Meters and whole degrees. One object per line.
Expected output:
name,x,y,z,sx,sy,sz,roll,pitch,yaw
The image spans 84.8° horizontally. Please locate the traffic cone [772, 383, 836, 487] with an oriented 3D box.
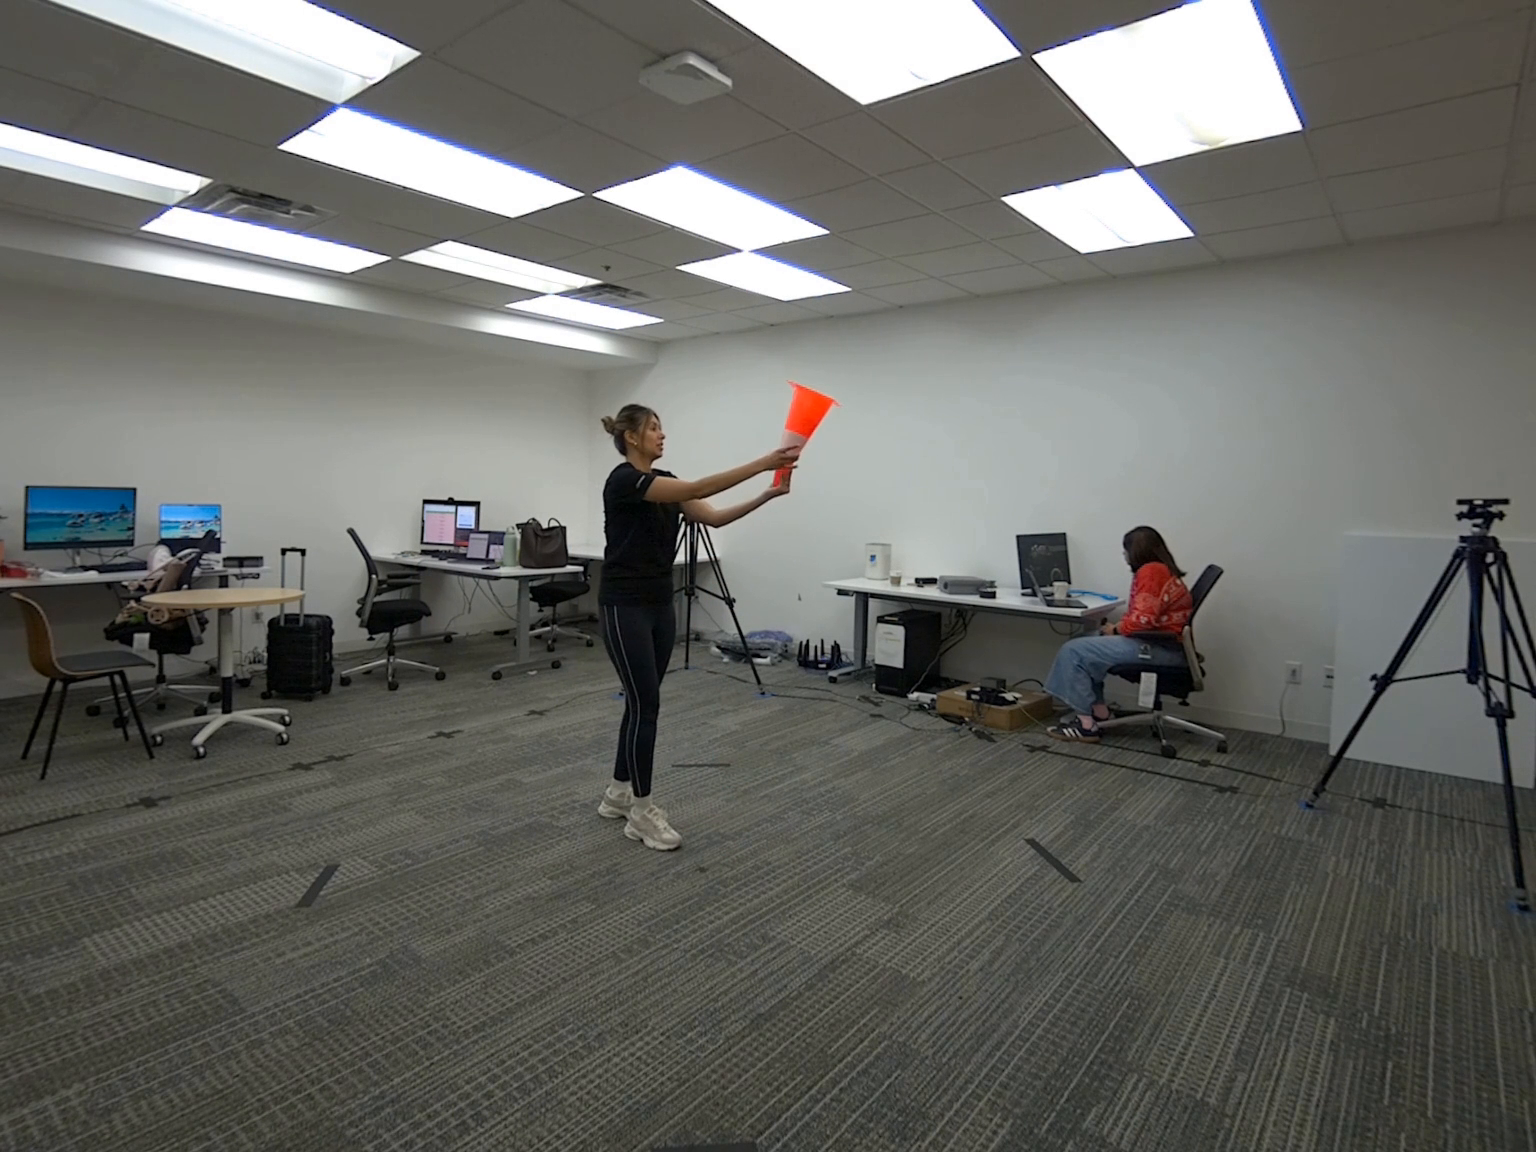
traffic cone,0.077,-0.531,3.284,0.207,0.382,0.201,25,7,13
